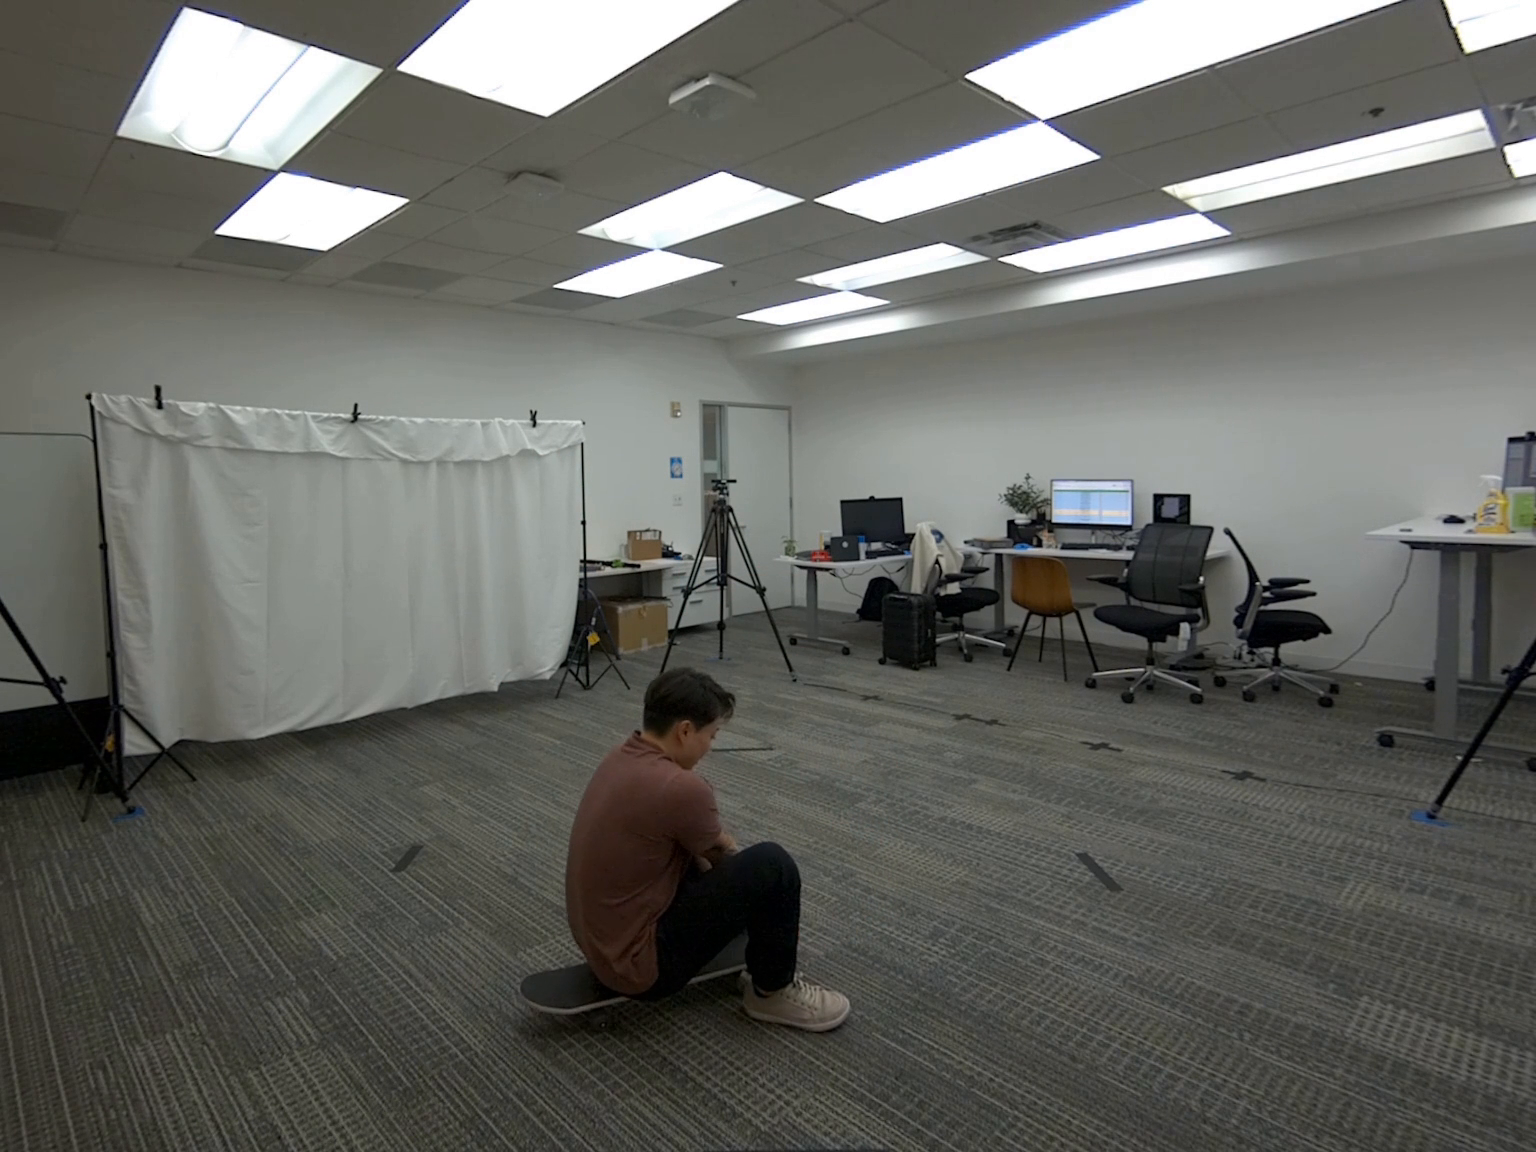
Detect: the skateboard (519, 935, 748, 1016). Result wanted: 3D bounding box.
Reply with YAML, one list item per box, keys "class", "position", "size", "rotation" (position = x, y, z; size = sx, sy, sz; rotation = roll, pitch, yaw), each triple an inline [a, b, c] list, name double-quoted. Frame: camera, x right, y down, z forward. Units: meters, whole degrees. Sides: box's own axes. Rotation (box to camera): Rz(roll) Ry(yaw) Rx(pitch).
- class: "skateboard"
  position: [-0.271, 1.097, 2.324]
  size: [0.770, 0.110, 0.198]
  rotation: [-3, 7, -23]
